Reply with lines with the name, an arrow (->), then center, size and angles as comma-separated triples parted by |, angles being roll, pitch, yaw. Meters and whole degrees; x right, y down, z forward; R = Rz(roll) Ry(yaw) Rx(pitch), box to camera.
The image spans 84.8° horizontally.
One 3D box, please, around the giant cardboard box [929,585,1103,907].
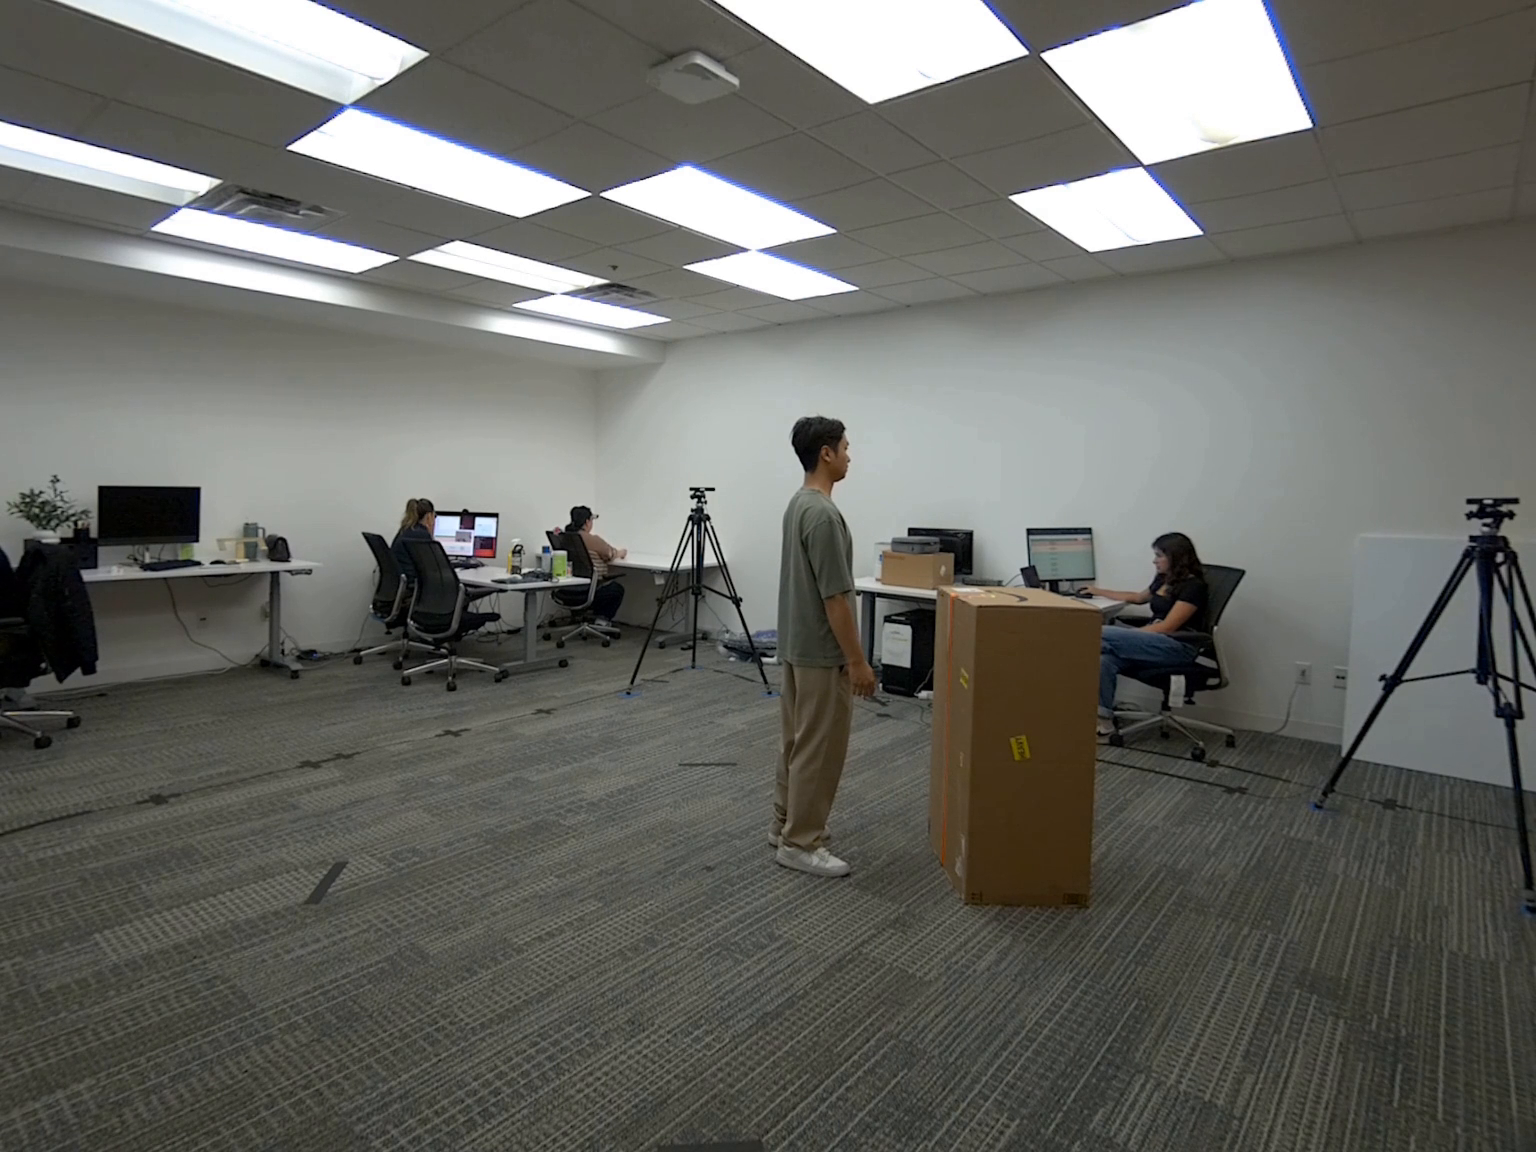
giant cardboard box -> 0.878, 0.583, 3.142 | 0.426, 1.022, 0.580 | 2, 4, -2
